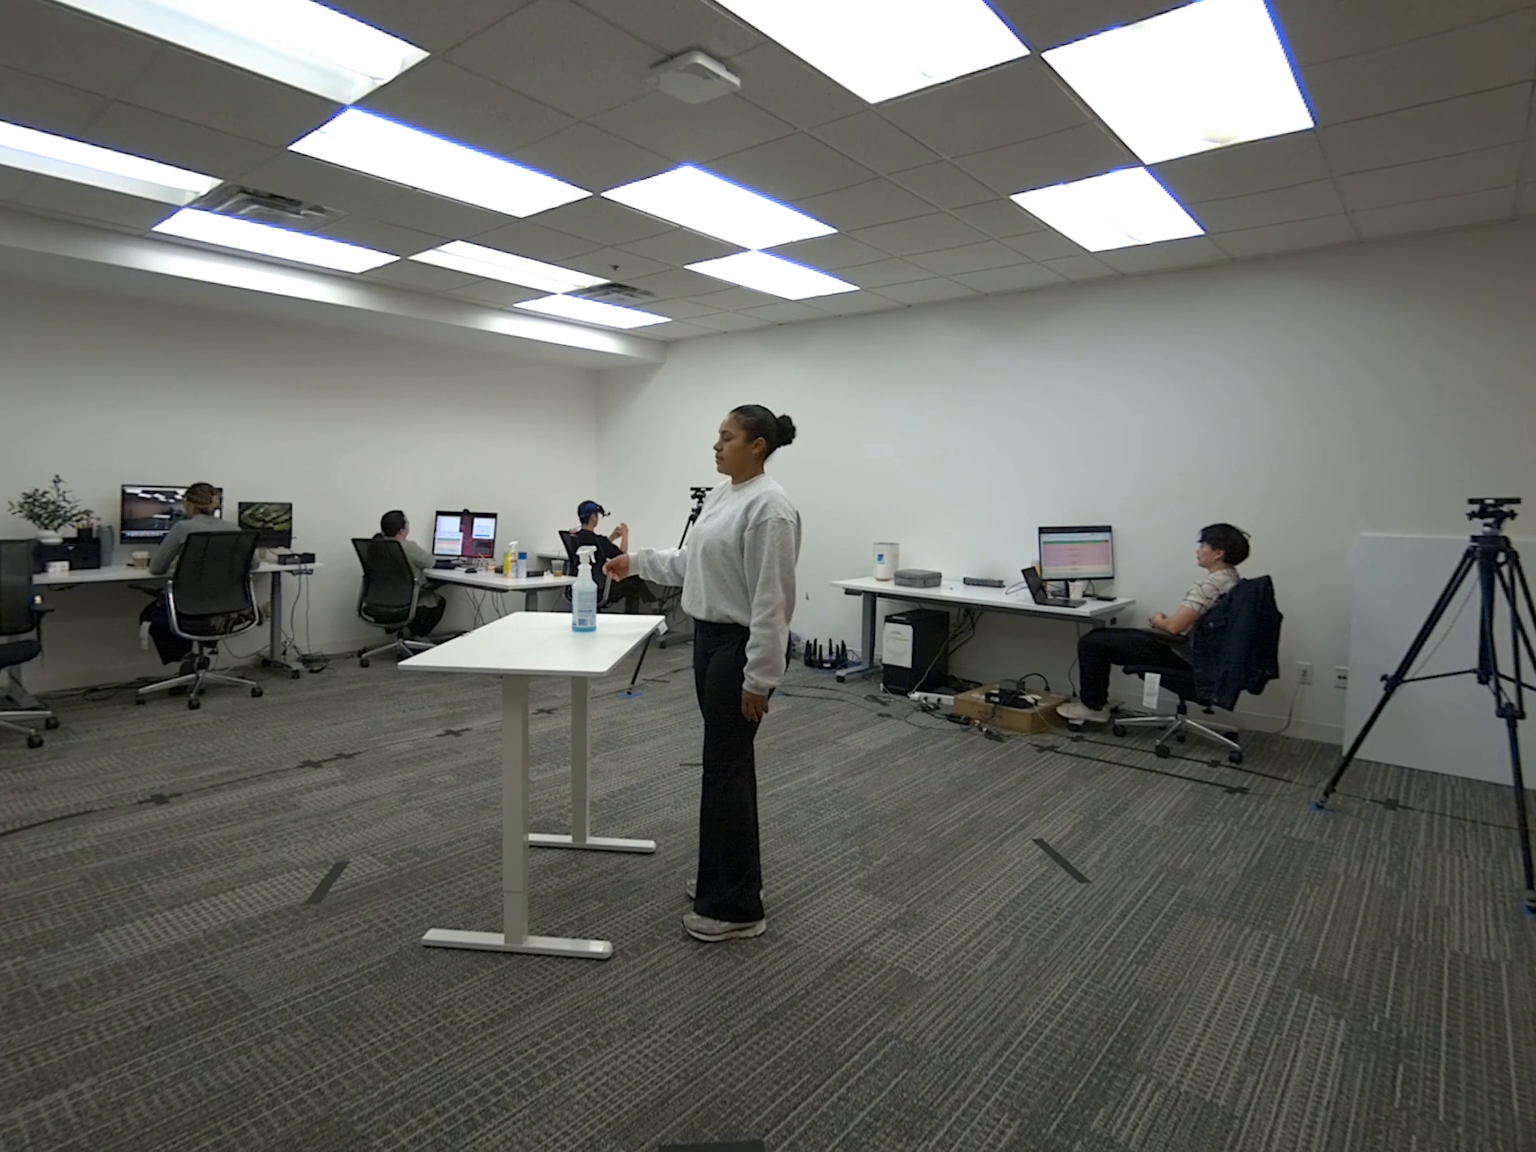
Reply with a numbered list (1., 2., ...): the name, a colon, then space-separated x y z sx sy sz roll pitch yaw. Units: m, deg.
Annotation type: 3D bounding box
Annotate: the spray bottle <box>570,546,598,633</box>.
1. spray bottle: -0.654 0.041 2.986 0.085 0.296 0.093 0 5 -30
